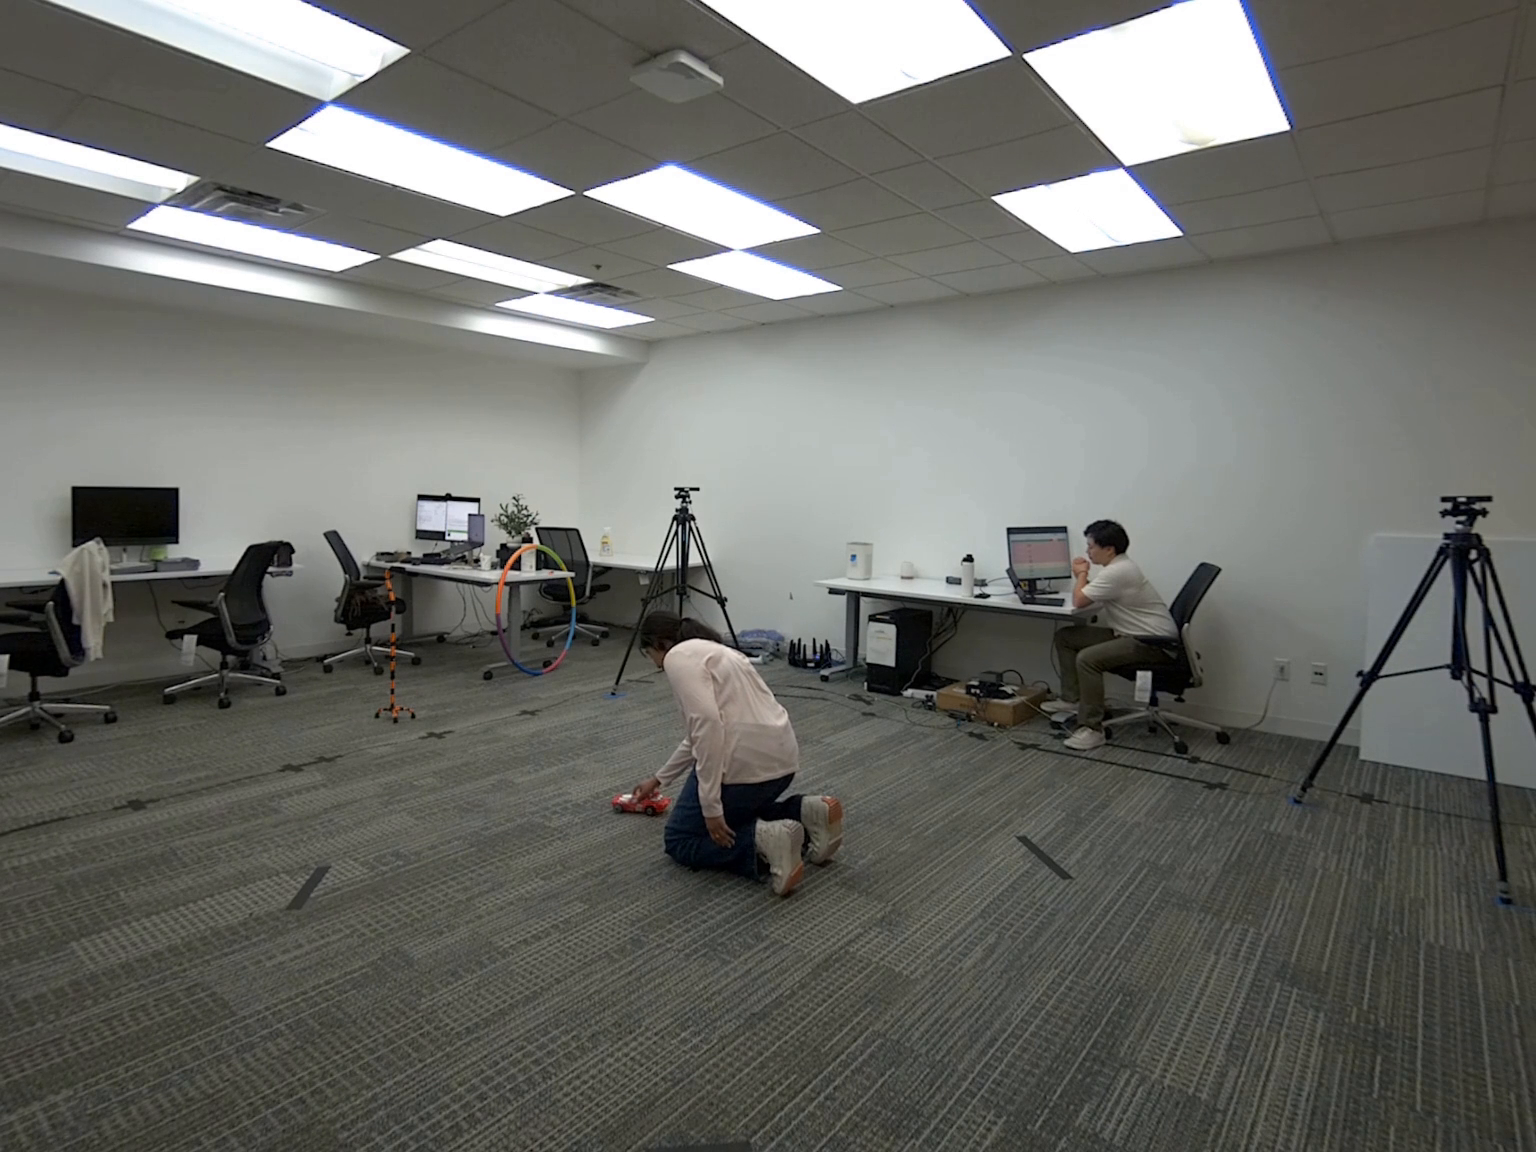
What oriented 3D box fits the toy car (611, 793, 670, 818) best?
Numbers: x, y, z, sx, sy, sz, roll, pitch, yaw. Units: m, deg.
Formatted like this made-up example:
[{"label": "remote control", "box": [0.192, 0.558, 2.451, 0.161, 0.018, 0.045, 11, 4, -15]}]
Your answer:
[{"label": "toy car", "box": [-0.550, 0.979, 3.663, 0.257, 0.083, 0.129, -8, 3, 12]}]
